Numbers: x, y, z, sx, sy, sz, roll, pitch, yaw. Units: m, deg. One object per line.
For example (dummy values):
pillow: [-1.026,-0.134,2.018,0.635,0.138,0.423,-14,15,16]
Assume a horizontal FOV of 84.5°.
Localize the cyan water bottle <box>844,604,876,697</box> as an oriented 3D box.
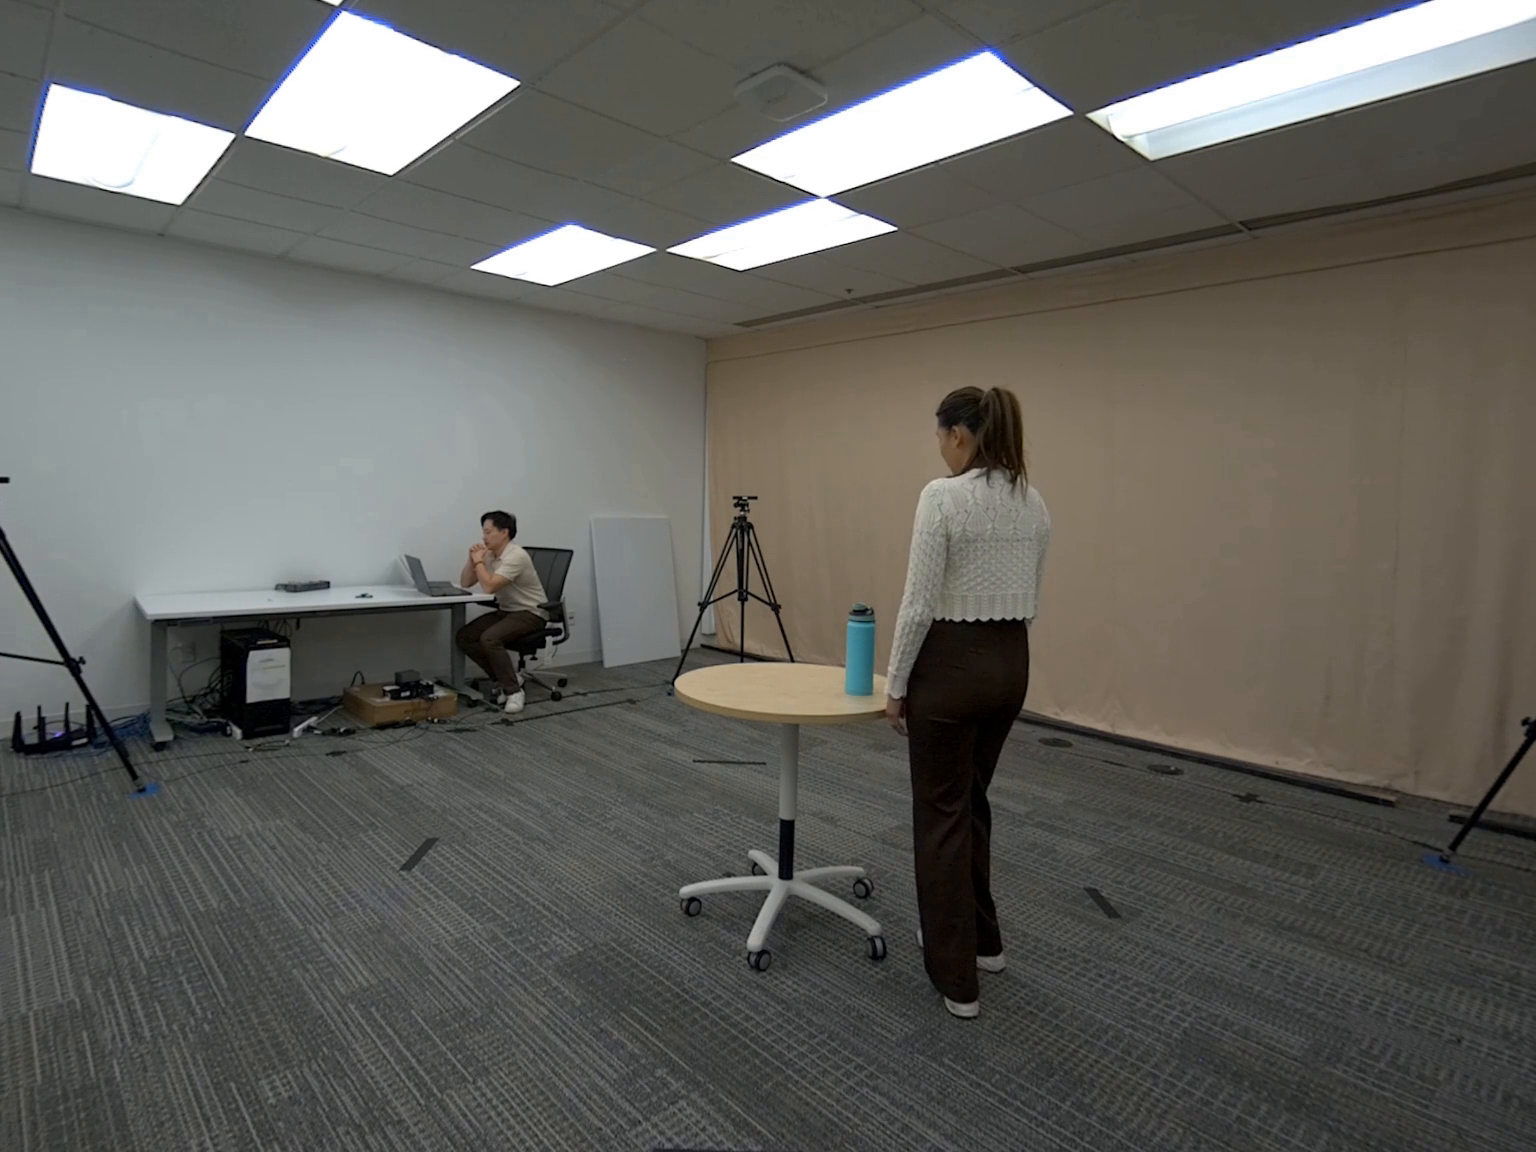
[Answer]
cyan water bottle: [0.297,0.234,2.661,0.092,0.283,0.092,4,1,-2]
